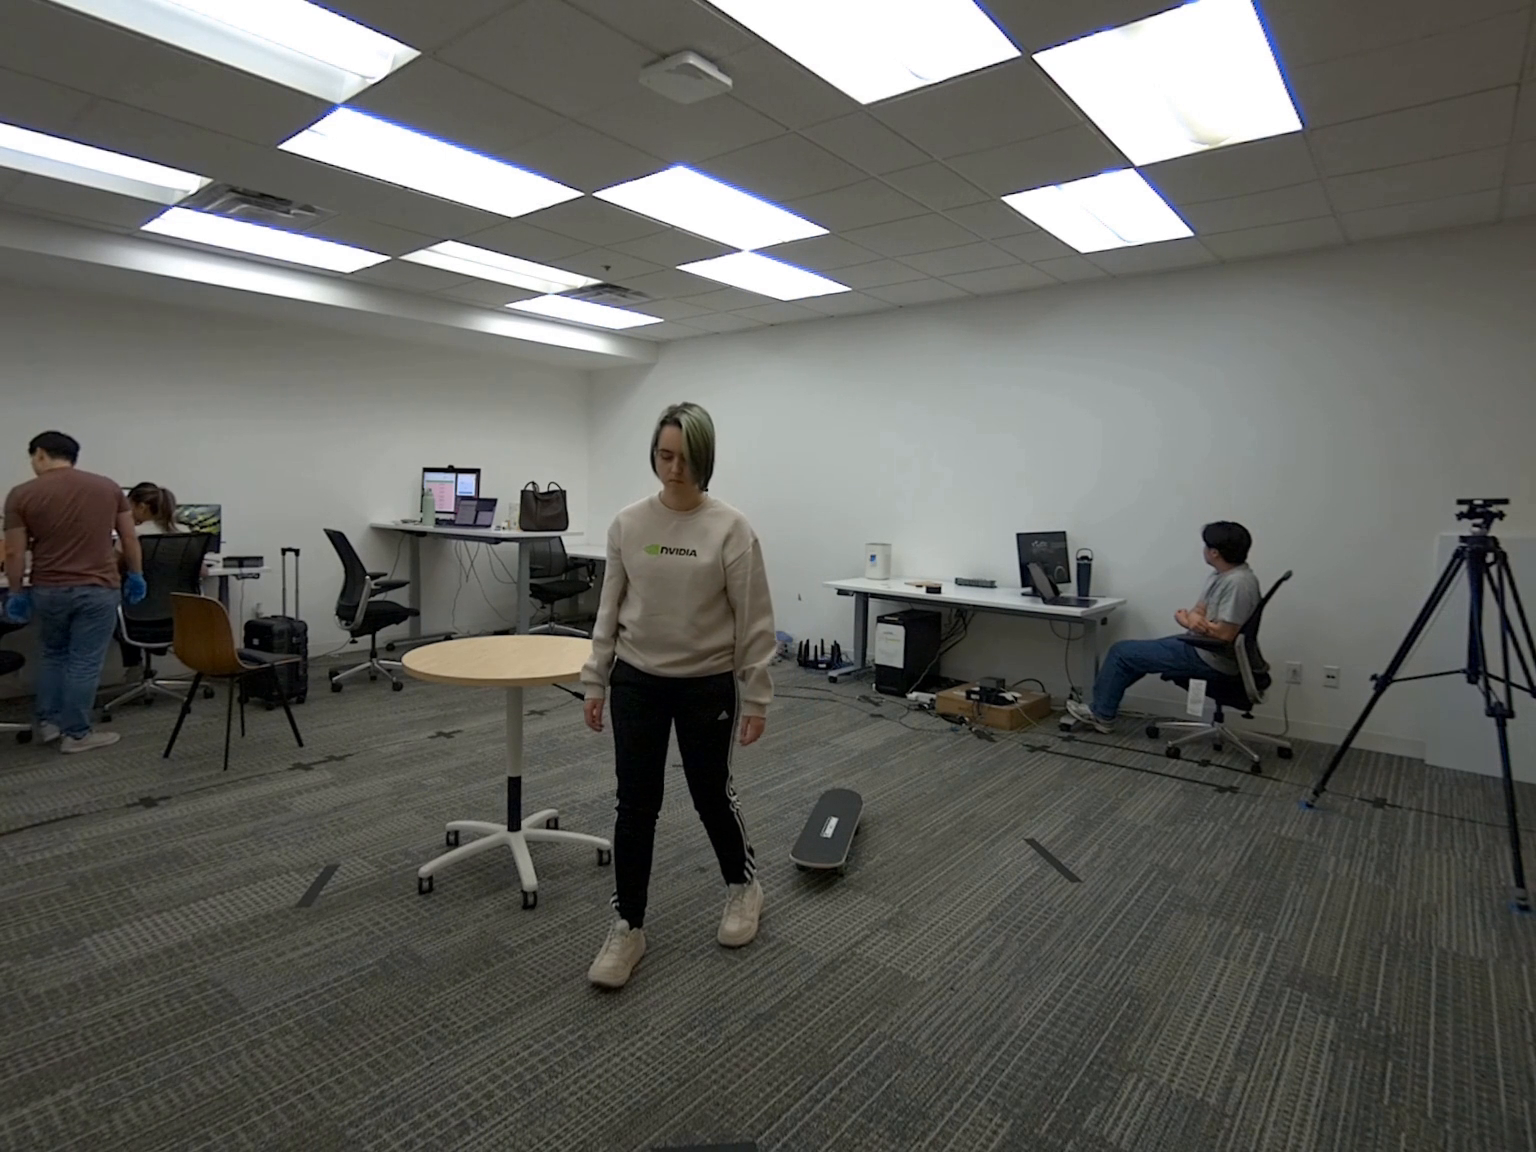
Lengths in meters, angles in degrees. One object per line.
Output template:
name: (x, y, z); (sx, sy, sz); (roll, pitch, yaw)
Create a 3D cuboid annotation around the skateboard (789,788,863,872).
skateboard: (0.237, 1.002, 3.311); (0.197, 0.110, 0.776); (2, 6, 14)
